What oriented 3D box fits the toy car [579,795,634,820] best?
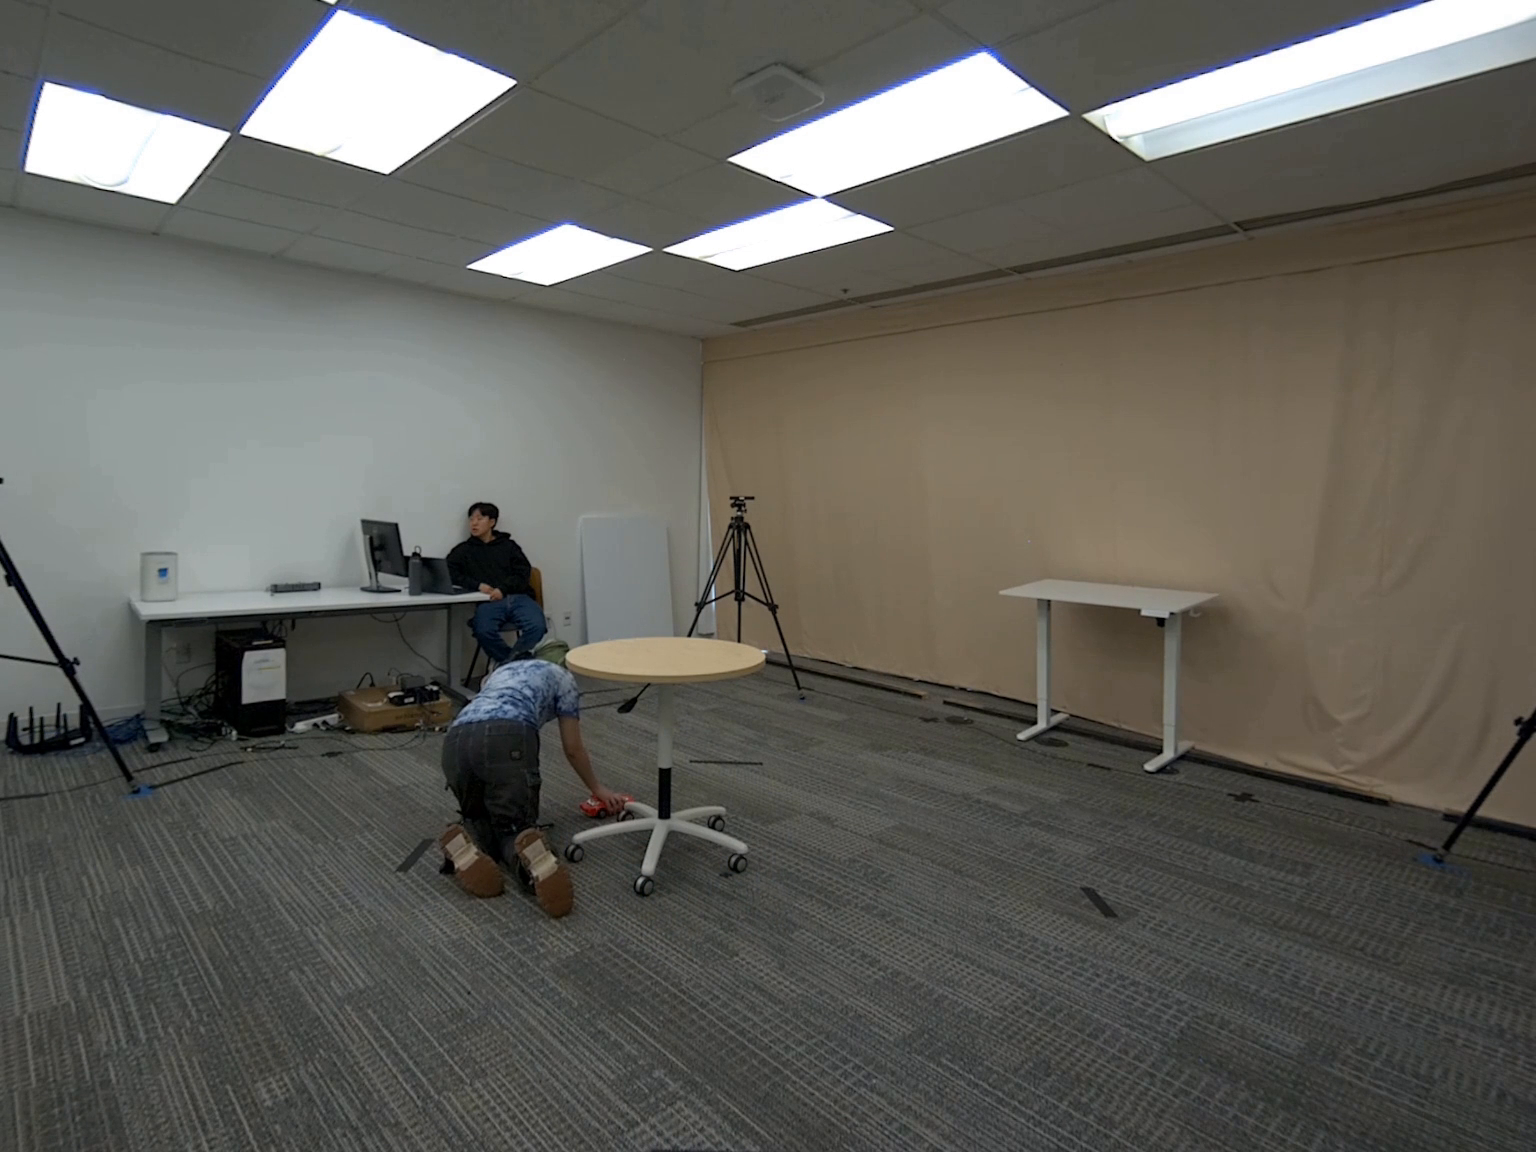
[{"bbox_3d":[-0.726,1.014,3.696,0.248,0.083,0.133,9,-2,-39],"label":"toy car"}]
